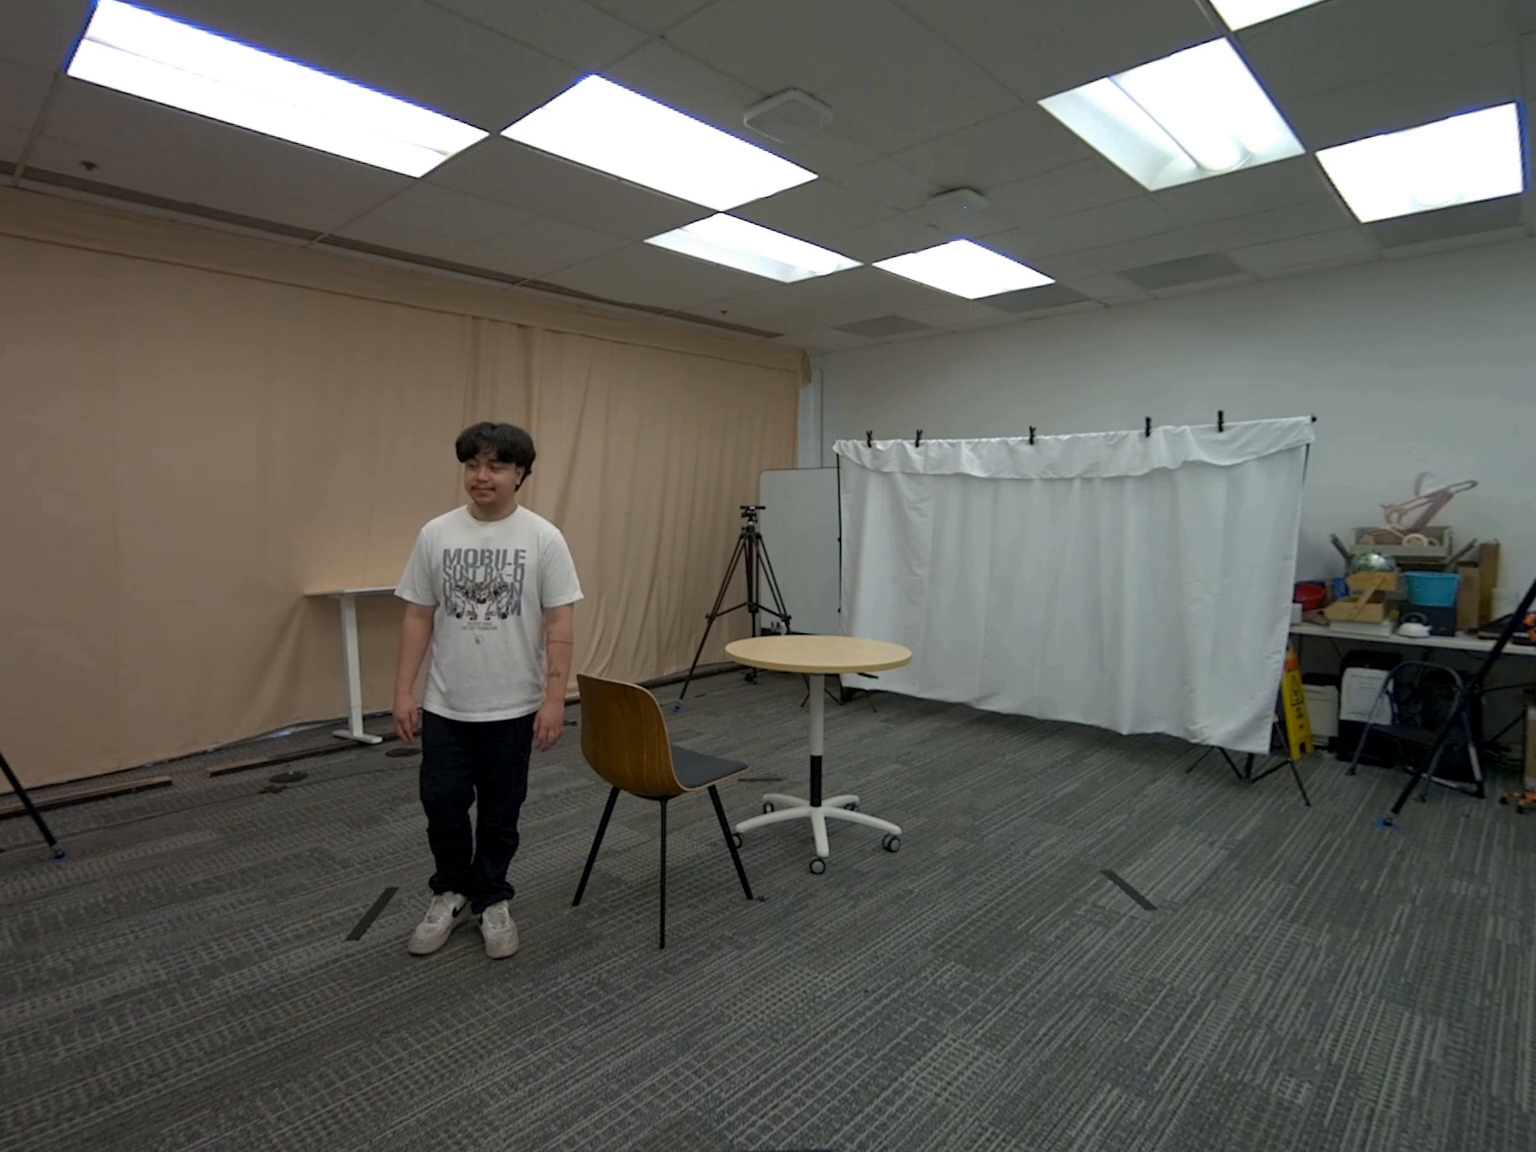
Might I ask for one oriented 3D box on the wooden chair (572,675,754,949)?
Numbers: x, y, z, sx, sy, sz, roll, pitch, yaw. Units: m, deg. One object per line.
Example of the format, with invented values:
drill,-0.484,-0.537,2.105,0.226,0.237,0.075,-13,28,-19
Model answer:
wooden chair,-0.365,0.721,2.939,0.494,0.873,0.508,2,8,40
